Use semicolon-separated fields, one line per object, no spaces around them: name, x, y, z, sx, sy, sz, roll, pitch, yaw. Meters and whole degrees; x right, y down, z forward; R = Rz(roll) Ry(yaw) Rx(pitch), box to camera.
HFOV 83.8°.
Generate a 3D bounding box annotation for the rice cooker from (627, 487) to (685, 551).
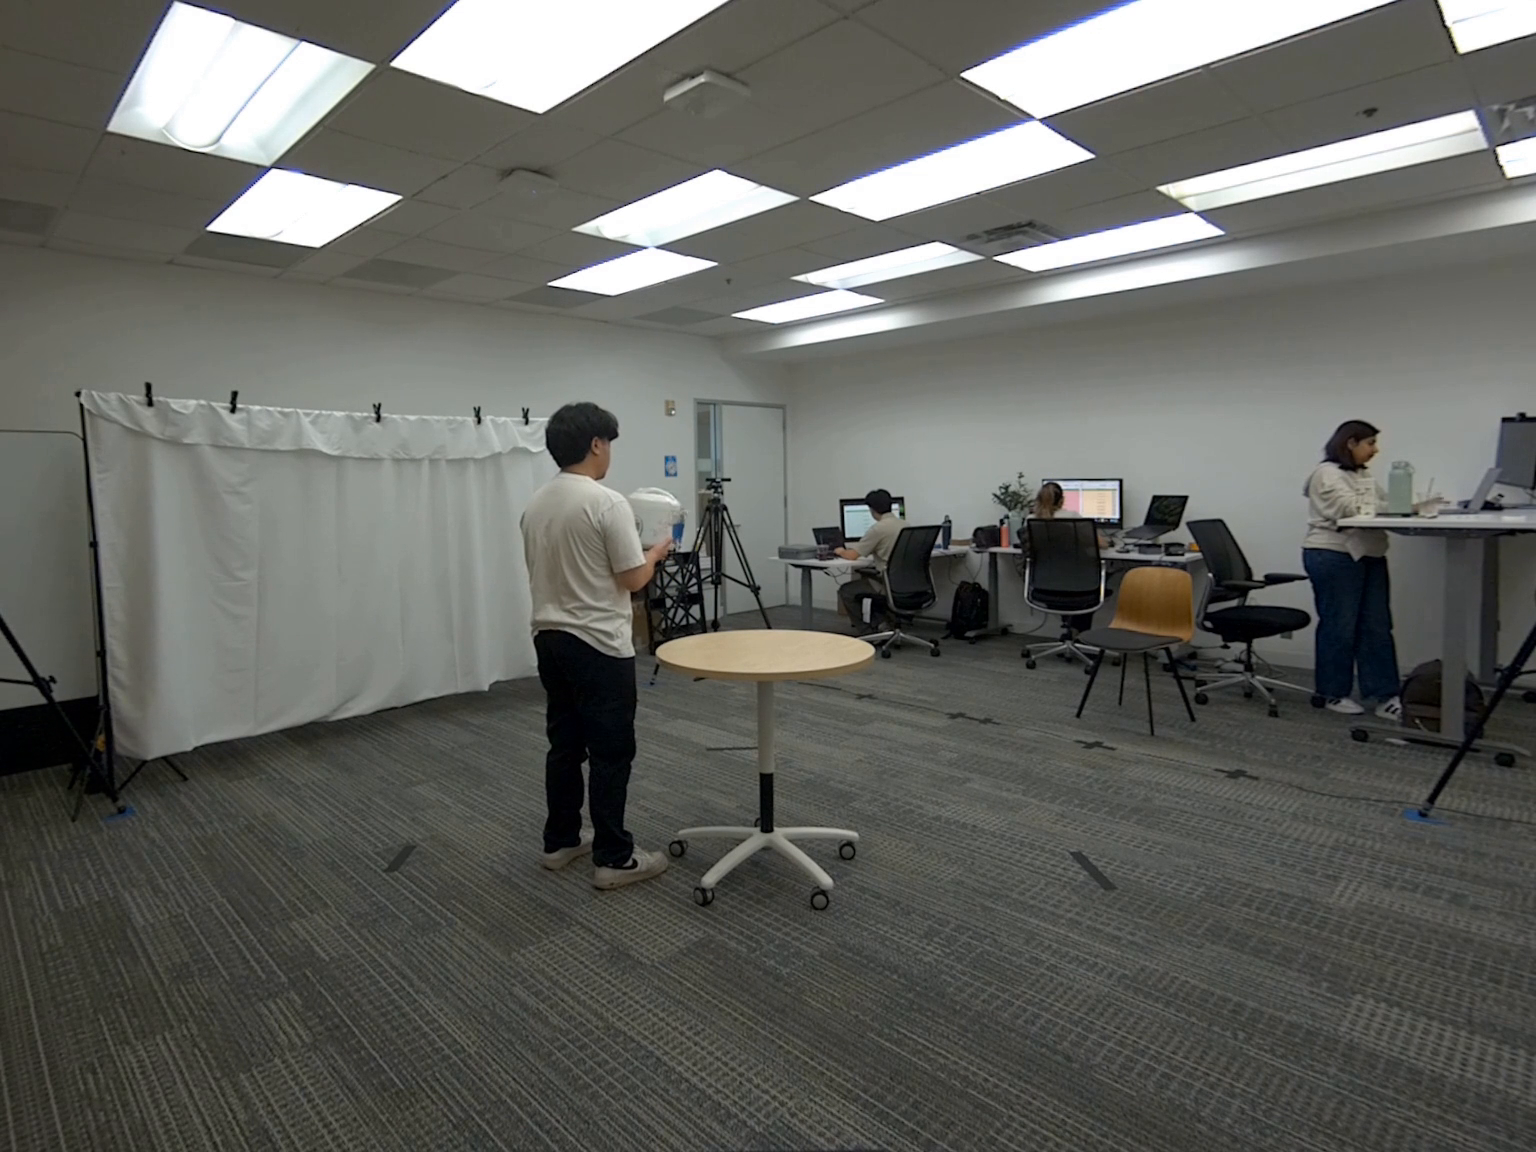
rice cooker;-0.443;-0.217;3.262;0.226;0.232;0.213;7;4;25
